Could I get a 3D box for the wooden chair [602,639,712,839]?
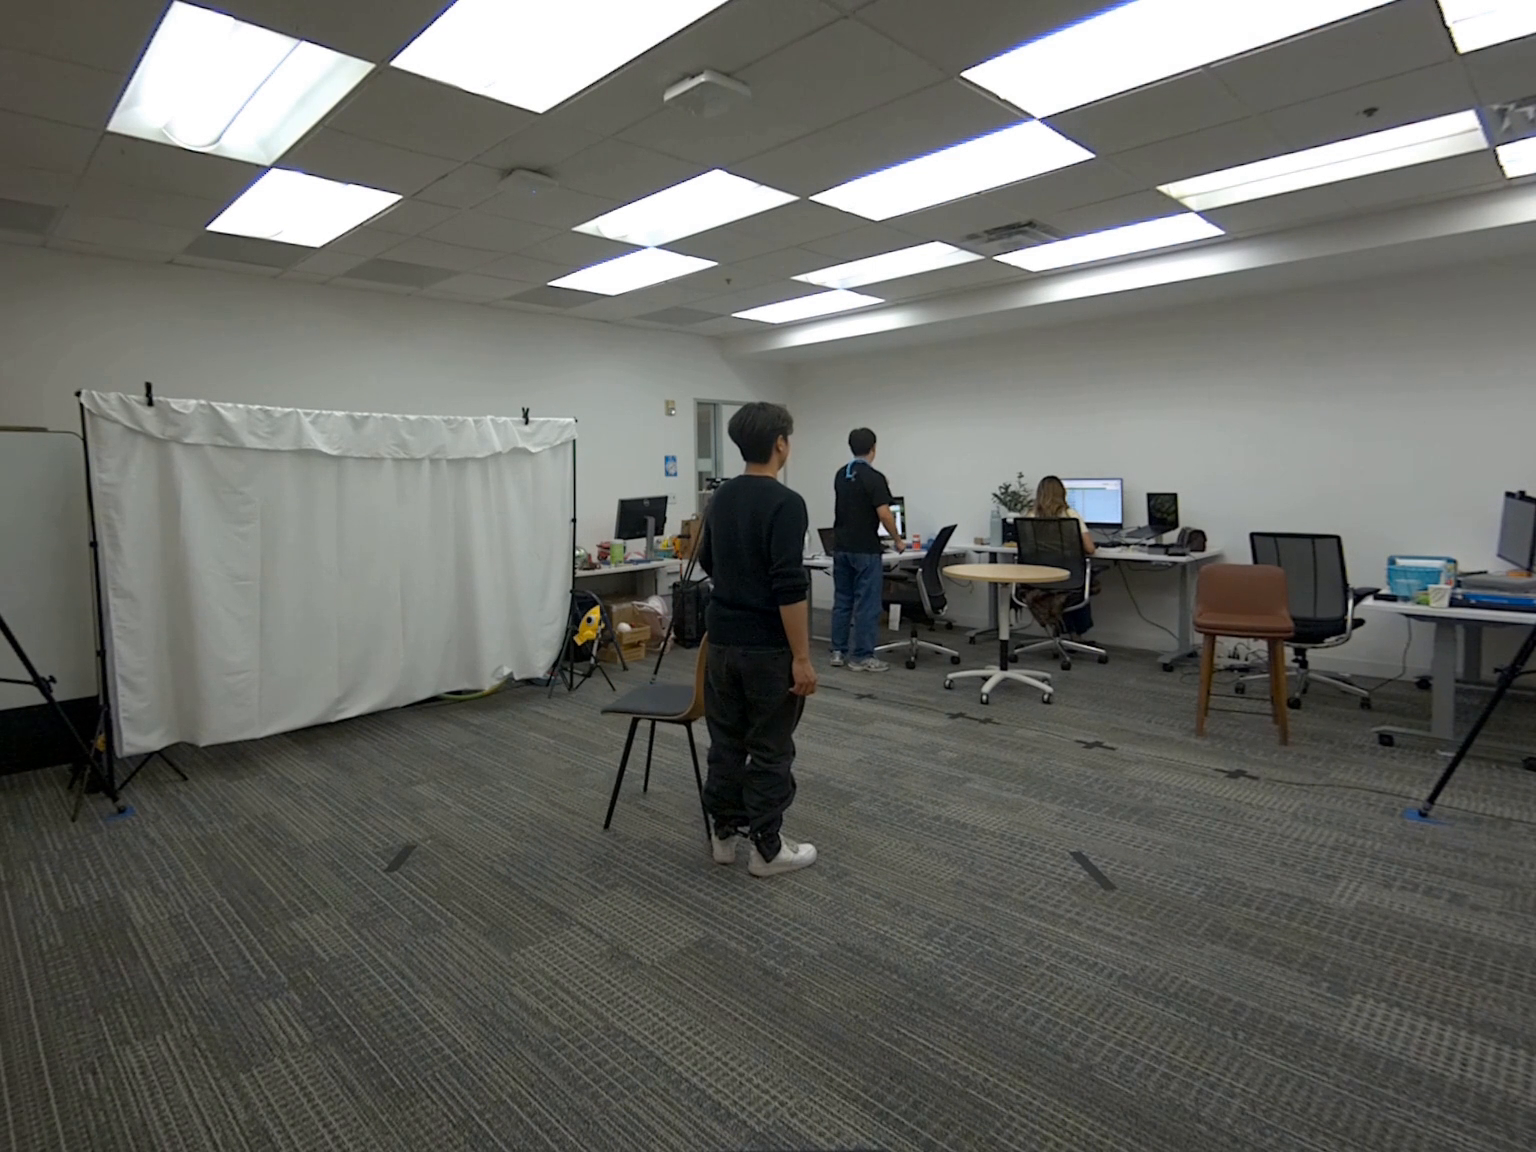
[{"bbox_3d":[-0.401,0.570,3.541,0.531,0.873,0.473,4,5,15],"label":"wooden chair"}]
